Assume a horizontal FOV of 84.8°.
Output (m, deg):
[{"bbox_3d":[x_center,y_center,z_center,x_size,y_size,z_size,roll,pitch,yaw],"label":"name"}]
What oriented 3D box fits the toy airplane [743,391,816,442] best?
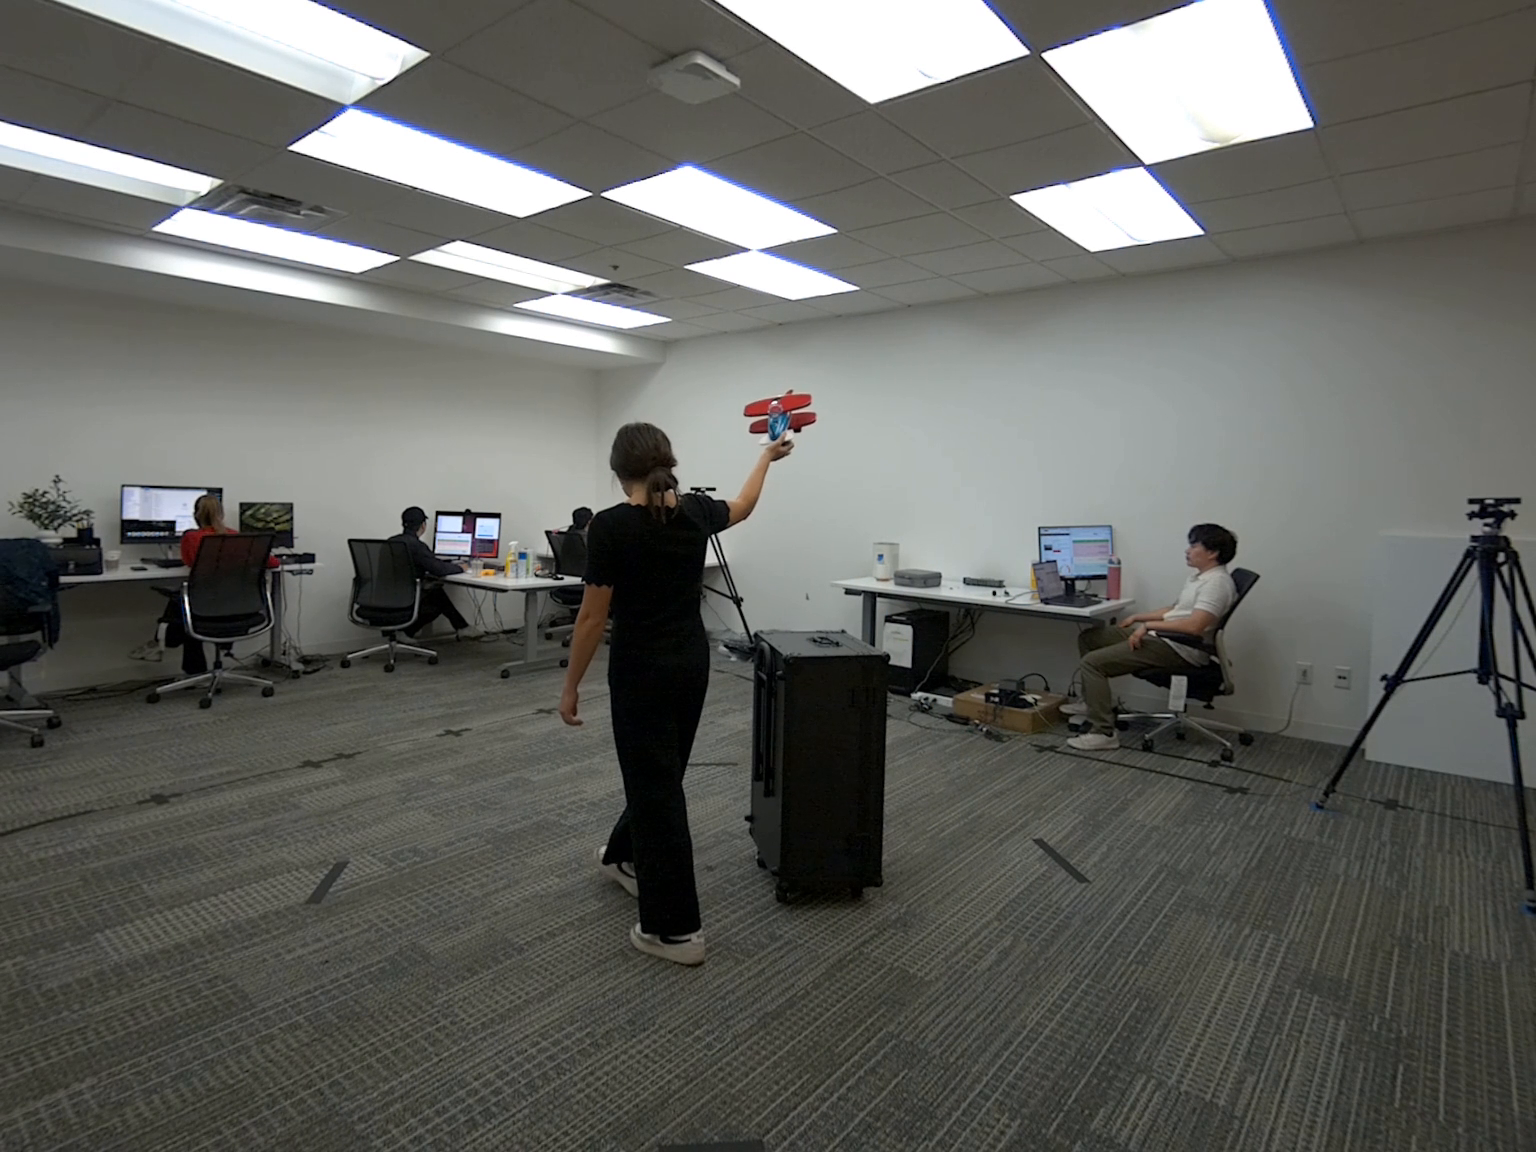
[{"bbox_3d":[0.048,-0.561,3.086,0.250,0.152,0.268,-20,27,-9],"label":"toy airplane"}]
